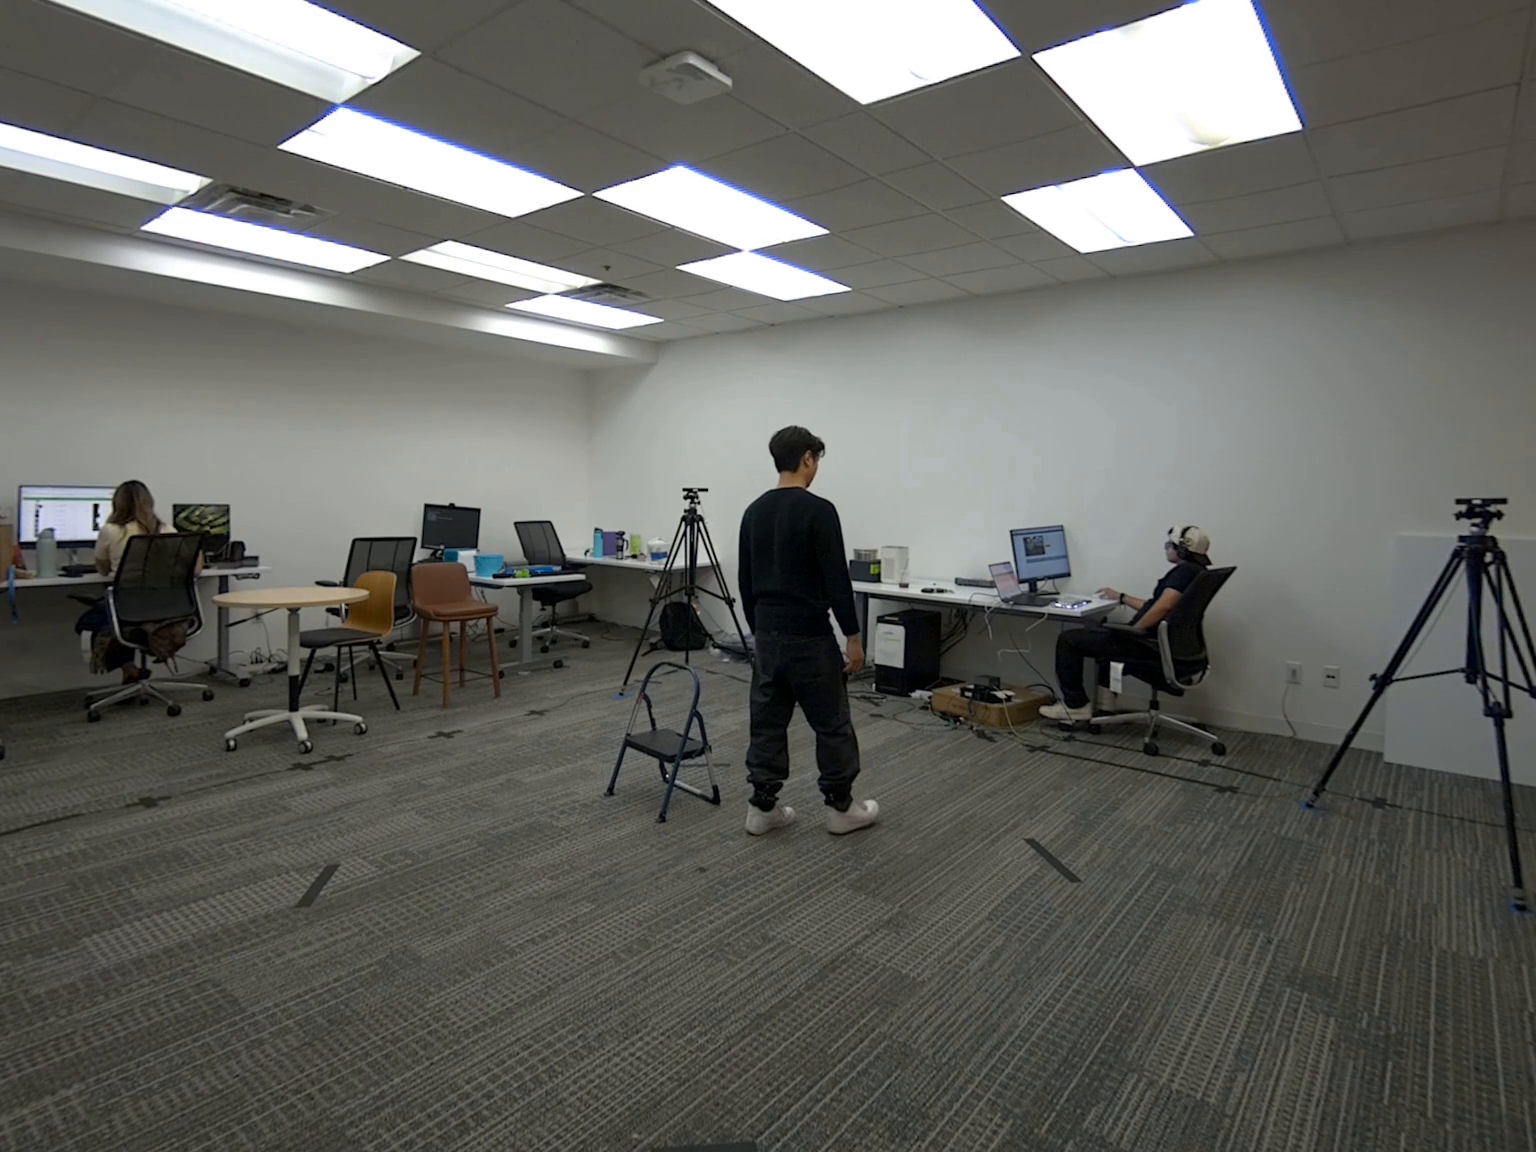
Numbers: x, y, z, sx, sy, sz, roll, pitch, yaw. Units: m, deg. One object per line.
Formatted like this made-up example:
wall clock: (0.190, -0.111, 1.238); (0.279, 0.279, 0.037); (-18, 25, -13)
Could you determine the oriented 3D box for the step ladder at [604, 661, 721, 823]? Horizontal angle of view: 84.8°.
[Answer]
step ladder: (-0.477, 0.697, 3.792); (0.339, 0.604, 0.445); (-2, 5, -43)
